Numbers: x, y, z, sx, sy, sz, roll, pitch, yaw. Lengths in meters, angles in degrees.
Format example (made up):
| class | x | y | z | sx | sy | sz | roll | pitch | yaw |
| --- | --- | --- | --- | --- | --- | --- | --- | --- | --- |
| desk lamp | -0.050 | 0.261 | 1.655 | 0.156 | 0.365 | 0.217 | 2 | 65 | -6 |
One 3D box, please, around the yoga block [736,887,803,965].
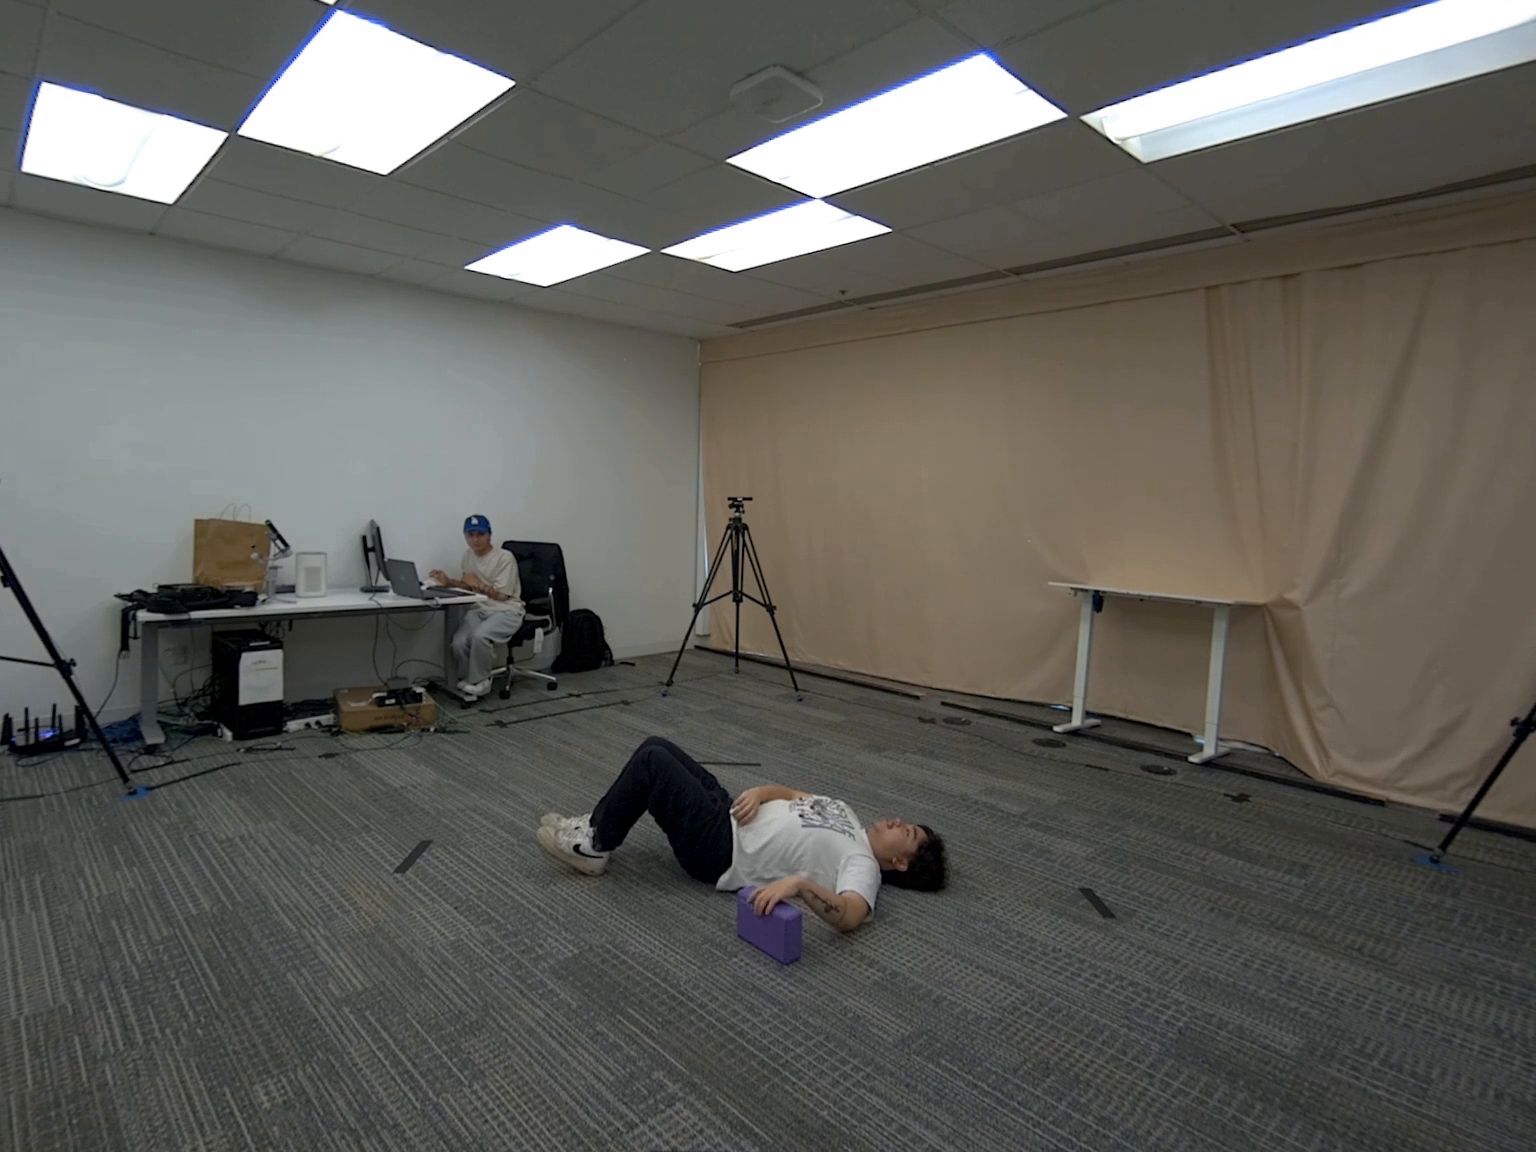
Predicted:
| class | x | y | z | sx | sy | sz | roll | pitch | yaw |
| --- | --- | --- | --- | --- | --- | --- | --- | --- | --- |
| yoga block | -0.005 | 1.081 | 2.612 | 0.075 | 0.148 | 0.235 | -2 | 7 | -42 |
